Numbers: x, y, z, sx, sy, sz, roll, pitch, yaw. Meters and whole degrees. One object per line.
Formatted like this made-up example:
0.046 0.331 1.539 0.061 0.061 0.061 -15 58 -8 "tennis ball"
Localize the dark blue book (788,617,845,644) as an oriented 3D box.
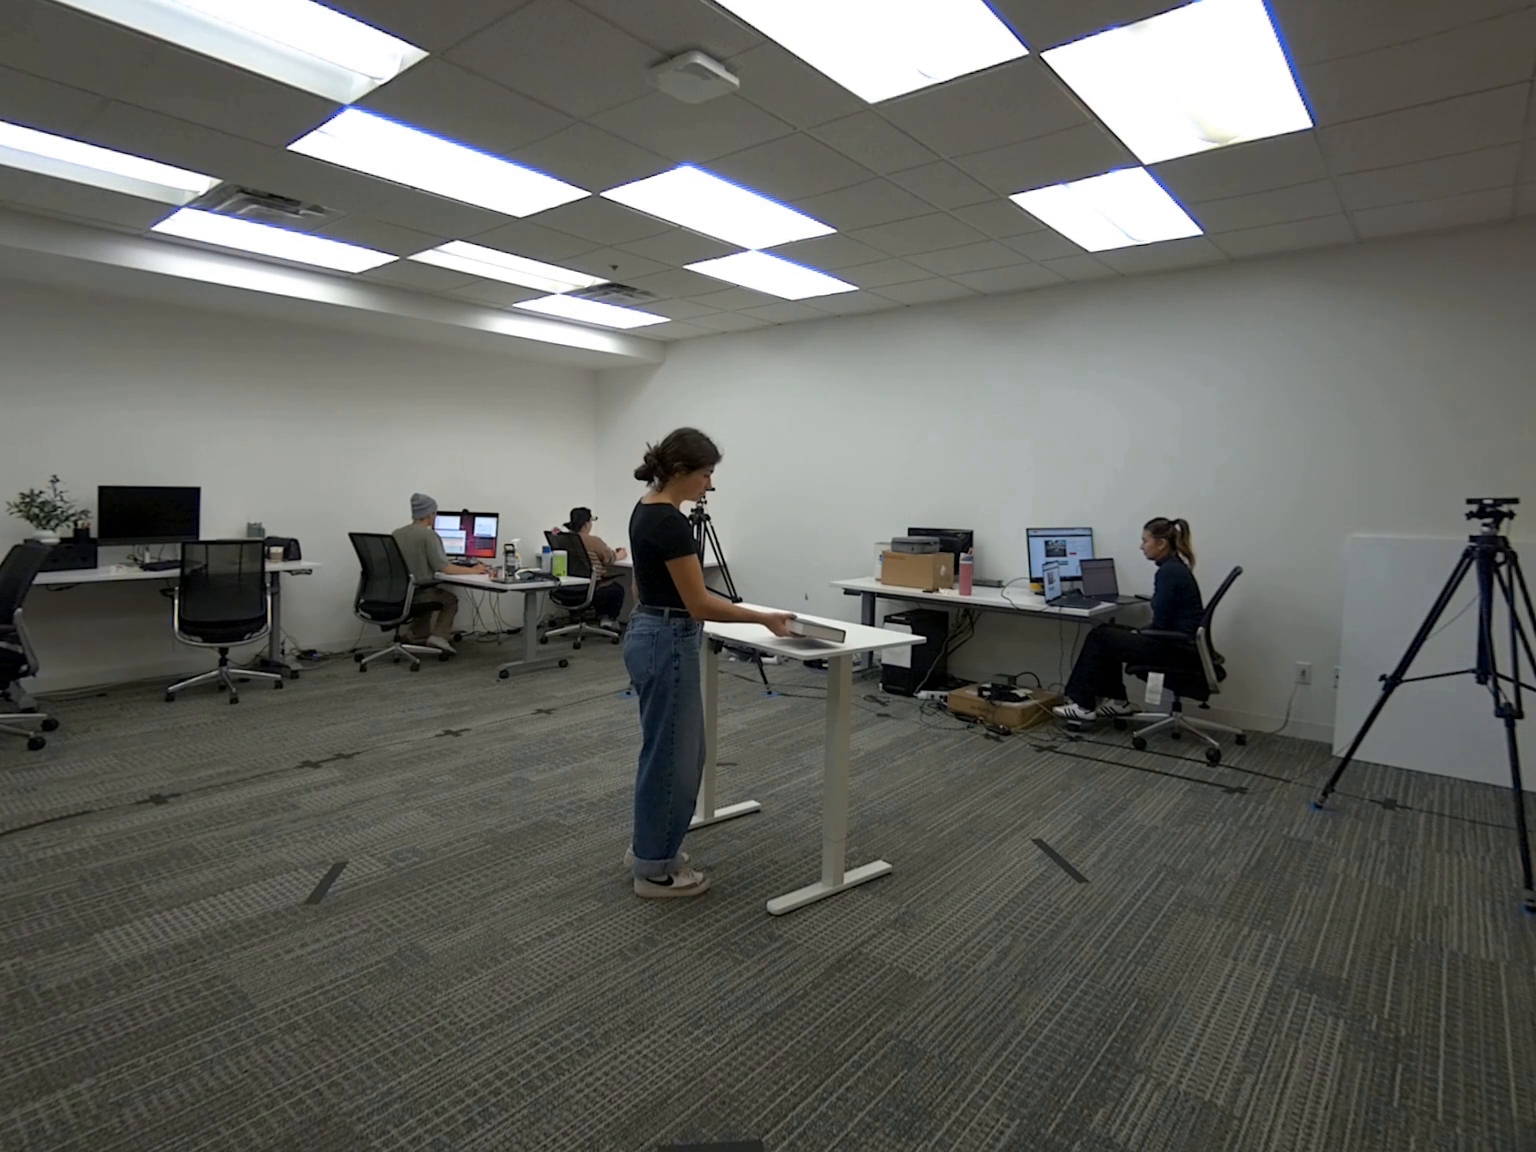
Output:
0.127 0.176 2.827 0.160 0.045 0.250 12 0 -20 "dark blue book"
